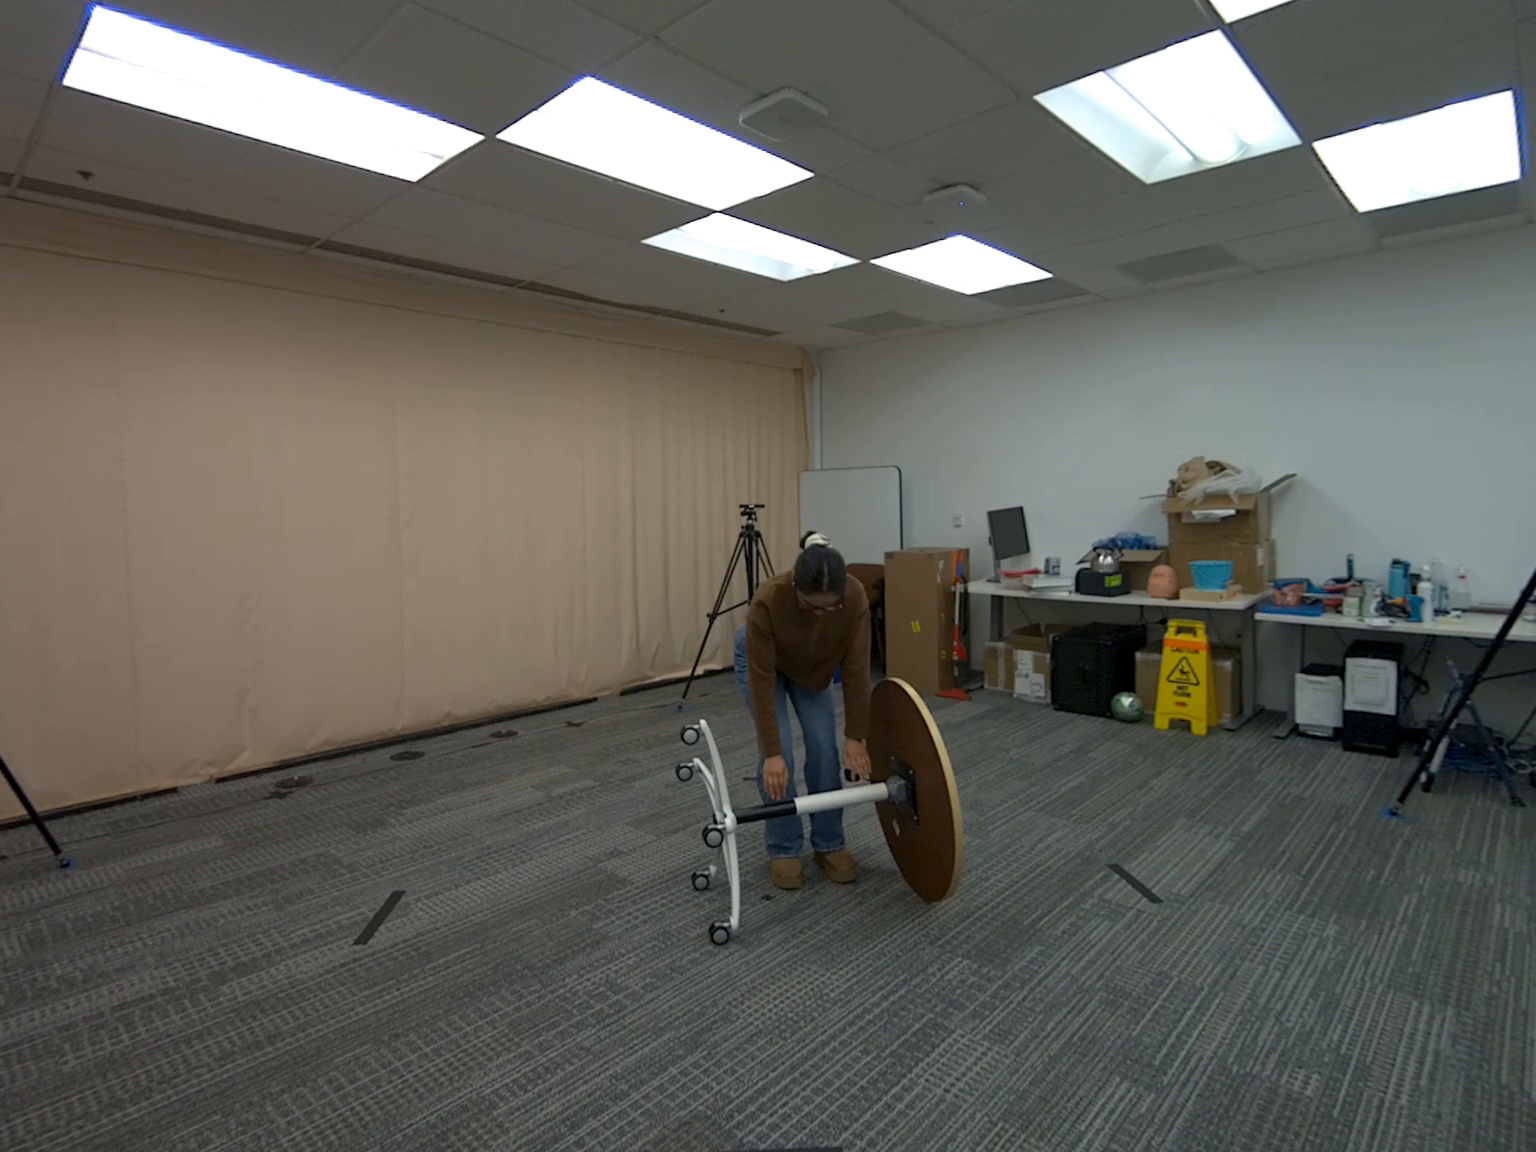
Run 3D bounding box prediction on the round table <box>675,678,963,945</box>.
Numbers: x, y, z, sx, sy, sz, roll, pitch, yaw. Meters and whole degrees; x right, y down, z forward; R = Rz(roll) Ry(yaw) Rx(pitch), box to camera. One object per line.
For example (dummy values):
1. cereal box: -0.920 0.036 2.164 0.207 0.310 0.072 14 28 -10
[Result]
1. round table: 0.126 0.803 2.925 0.786 0.761 0.775 -8 5 -11
